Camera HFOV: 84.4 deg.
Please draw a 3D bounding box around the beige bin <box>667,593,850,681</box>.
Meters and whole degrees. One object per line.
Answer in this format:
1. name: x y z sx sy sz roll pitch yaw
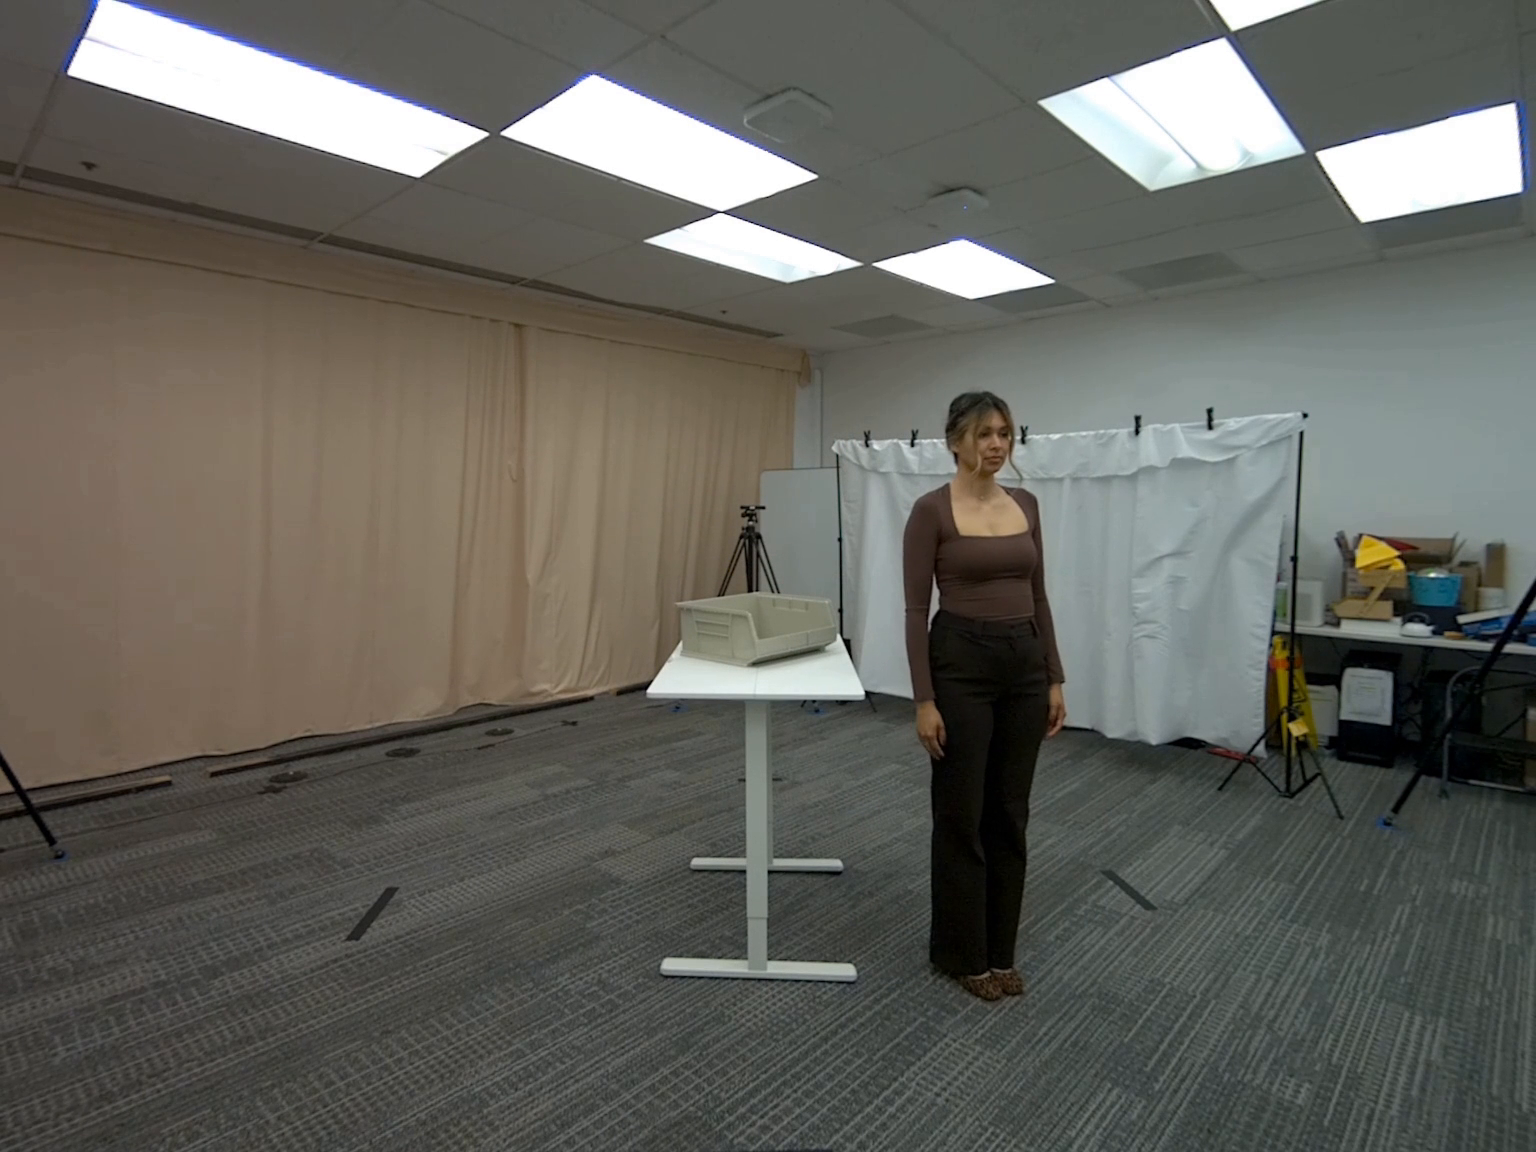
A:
1. beige bin: -0.031 0.179 2.893 0.390 0.188 0.410 2 6 43
